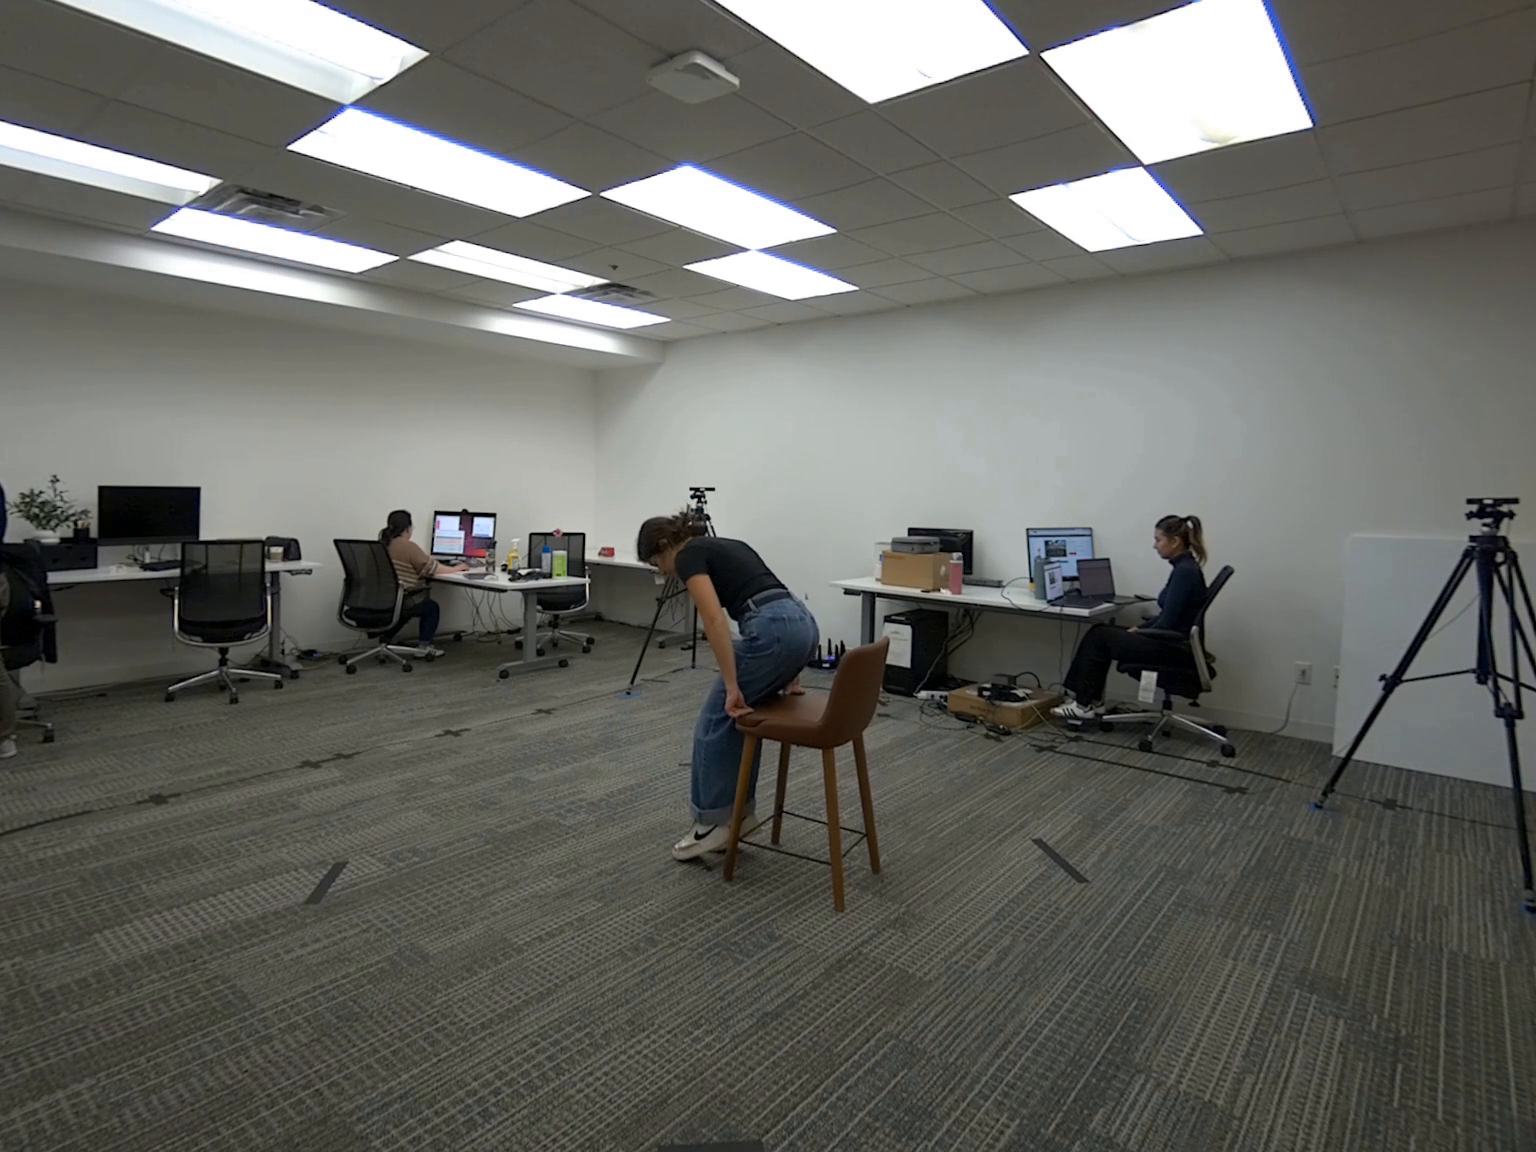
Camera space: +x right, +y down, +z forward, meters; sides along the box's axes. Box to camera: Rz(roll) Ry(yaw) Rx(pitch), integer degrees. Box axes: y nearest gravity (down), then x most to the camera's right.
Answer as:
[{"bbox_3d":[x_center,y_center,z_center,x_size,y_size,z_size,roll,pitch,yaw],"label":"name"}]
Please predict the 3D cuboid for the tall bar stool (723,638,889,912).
[{"bbox_3d":[0.139,0.644,3.051,0.481,0.887,0.444,5,4,29],"label":"tall bar stool"}]
